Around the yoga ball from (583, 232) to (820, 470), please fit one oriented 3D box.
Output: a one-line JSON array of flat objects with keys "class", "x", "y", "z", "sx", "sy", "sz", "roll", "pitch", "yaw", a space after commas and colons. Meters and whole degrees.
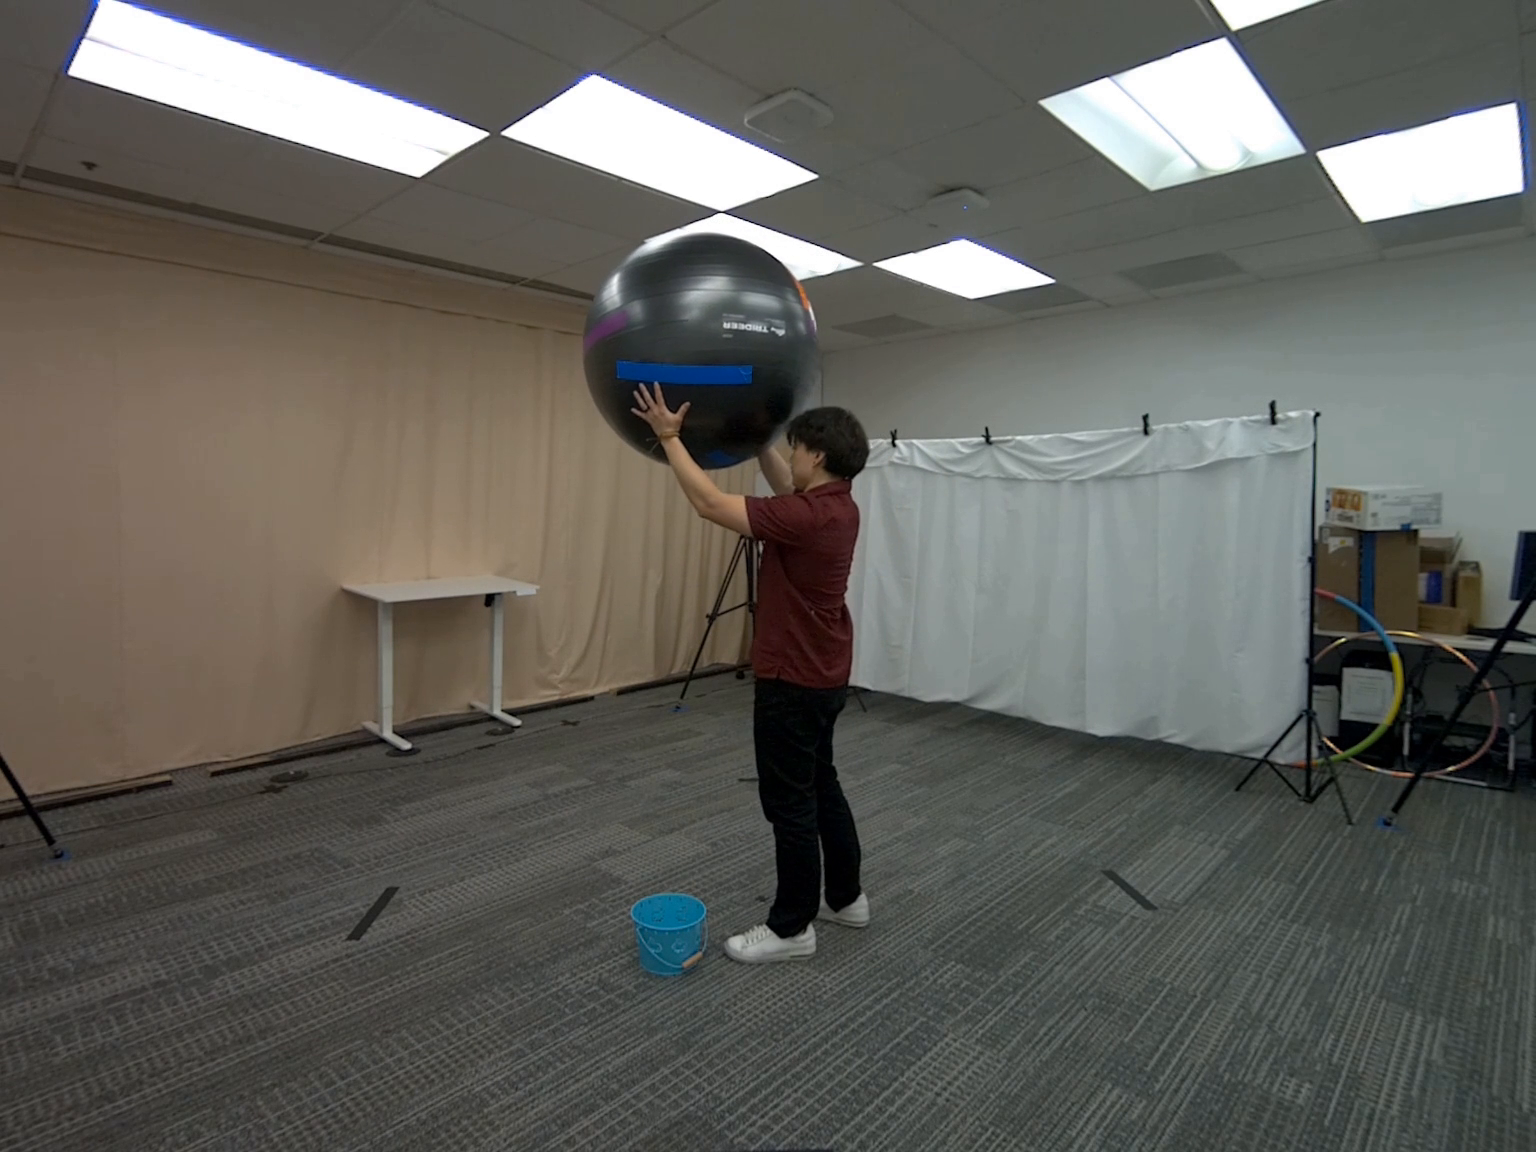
[{"class": "yoga ball", "x": -0.216, "y": -0.723, "z": 2.730, "sx": 0.757, "sy": 0.756, "sz": 0.760, "roll": 0, "pitch": 4, "yaw": -2}]
